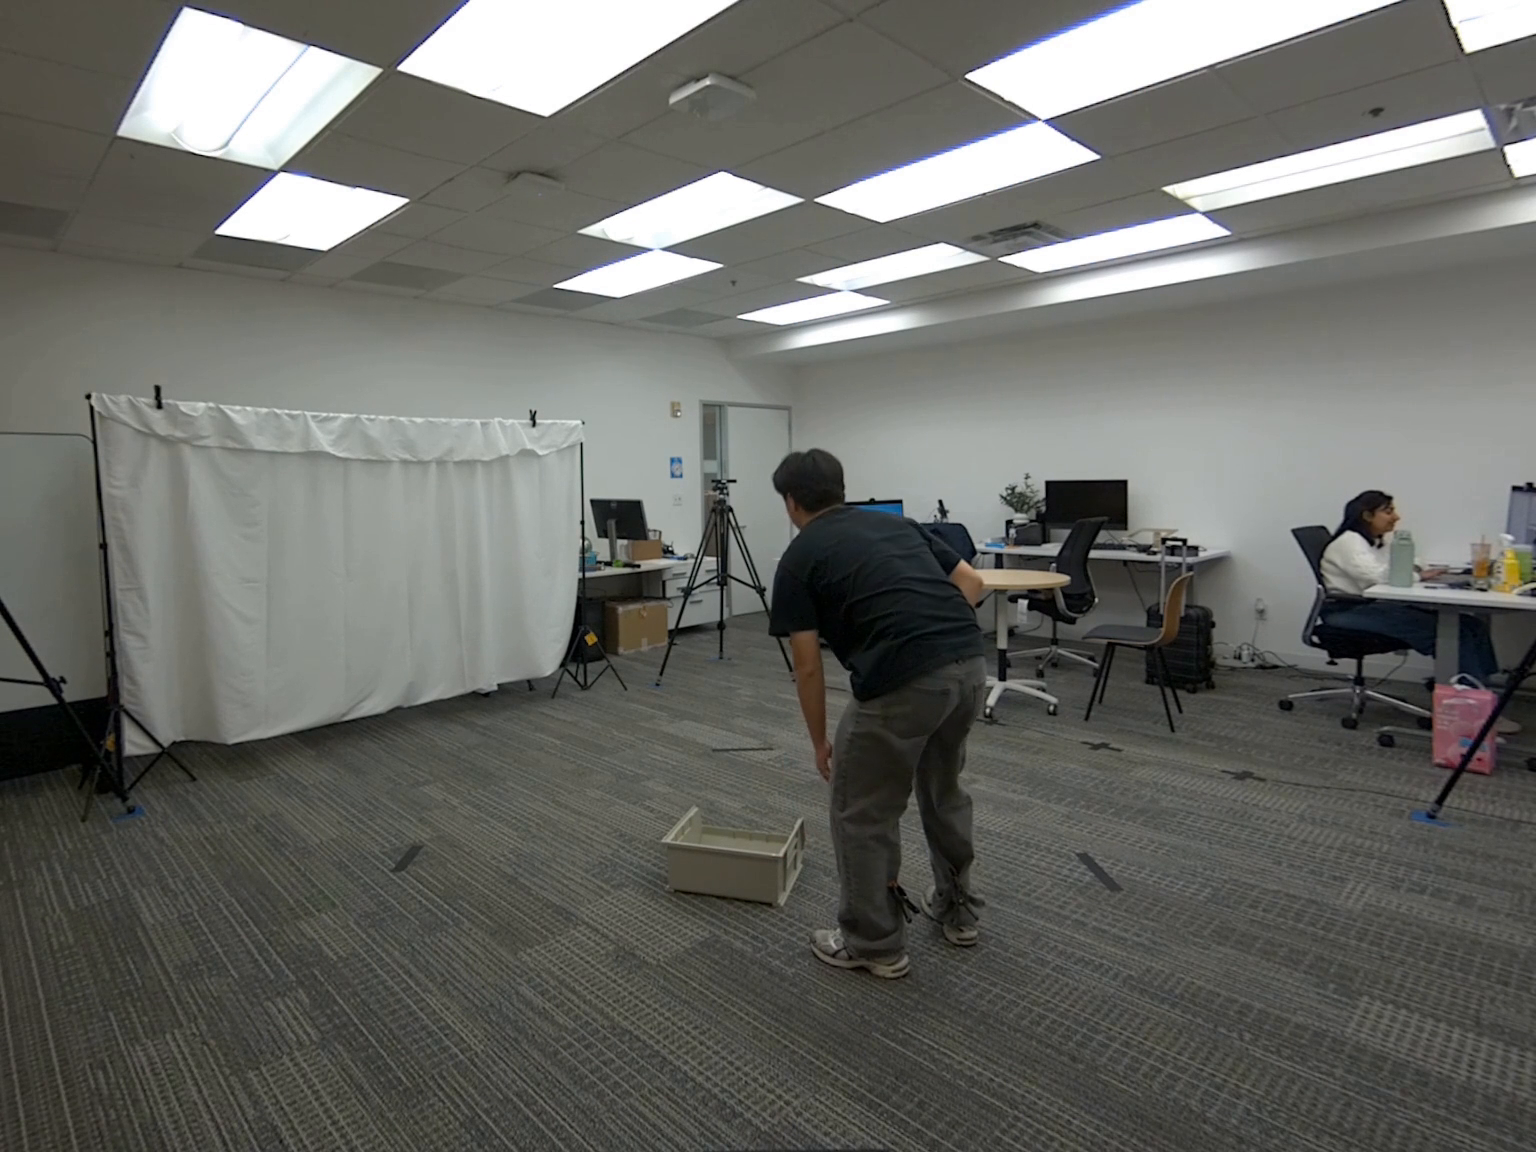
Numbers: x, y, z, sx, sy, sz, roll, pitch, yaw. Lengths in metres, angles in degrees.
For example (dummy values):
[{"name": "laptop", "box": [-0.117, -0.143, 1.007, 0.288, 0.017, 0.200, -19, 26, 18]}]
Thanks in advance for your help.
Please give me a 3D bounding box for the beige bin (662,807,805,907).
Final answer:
[{"name": "beige bin", "box": [-0.109, 0.970, 3.009, 0.429, 0.188, 0.373, 1, 7, 16]}]
